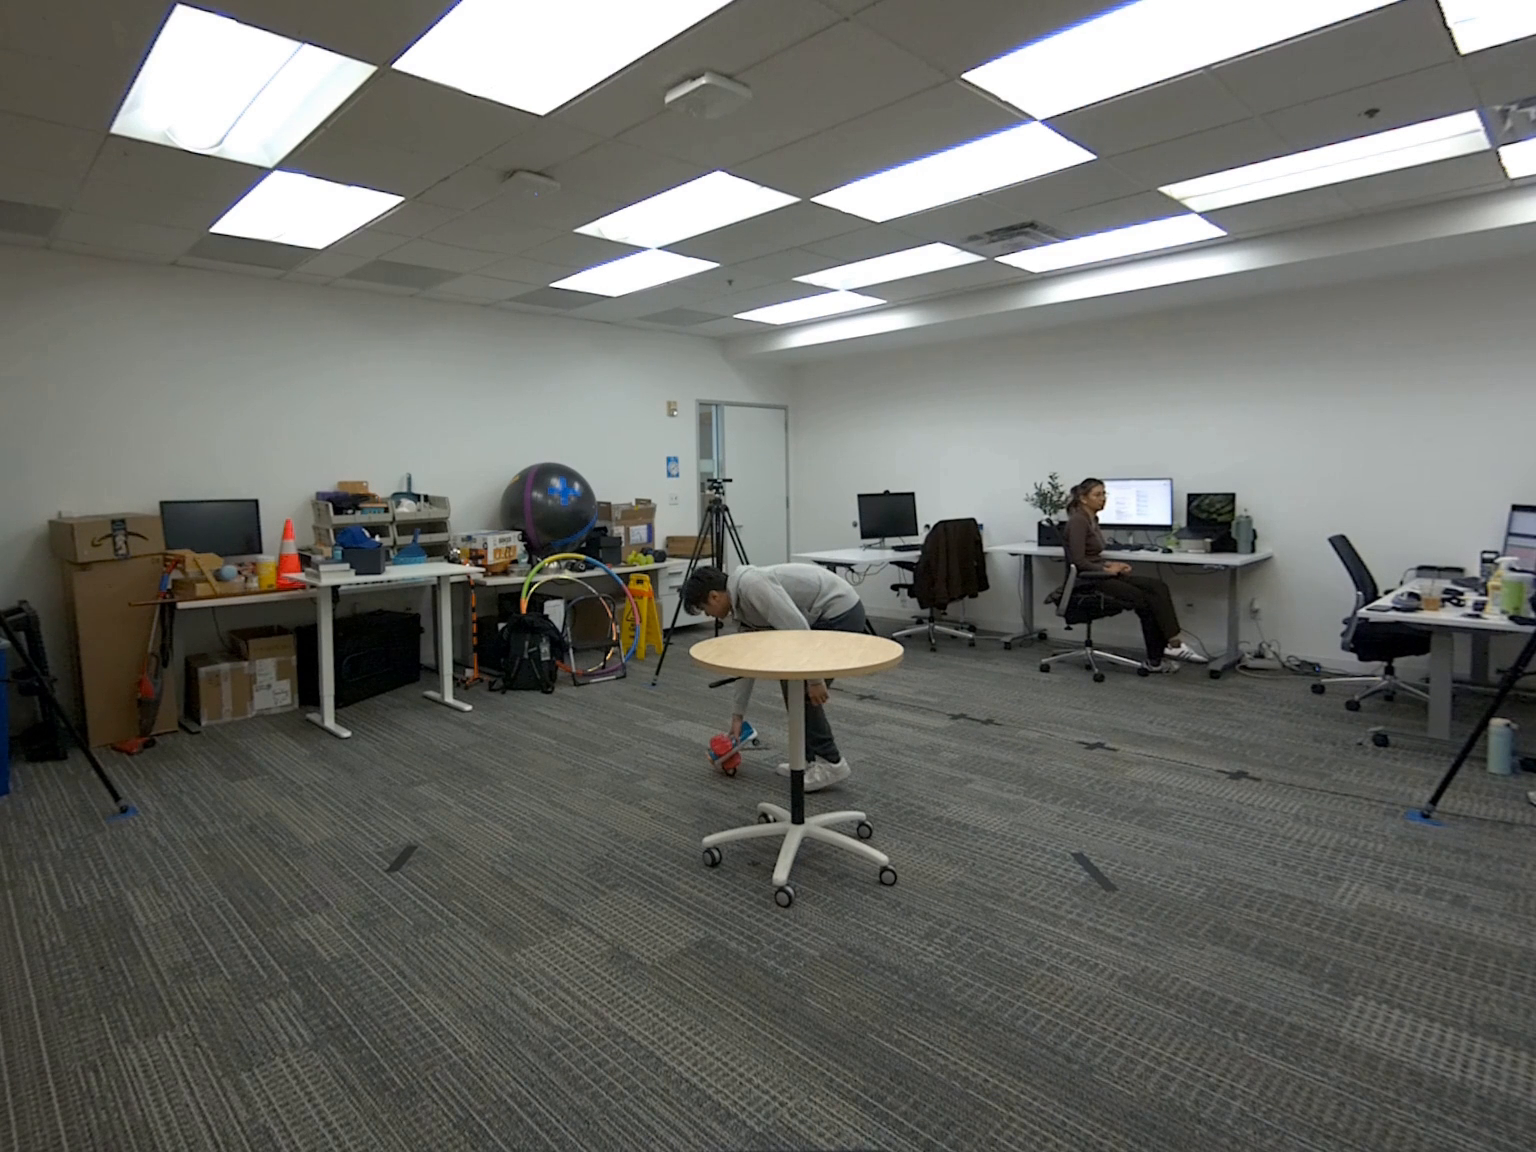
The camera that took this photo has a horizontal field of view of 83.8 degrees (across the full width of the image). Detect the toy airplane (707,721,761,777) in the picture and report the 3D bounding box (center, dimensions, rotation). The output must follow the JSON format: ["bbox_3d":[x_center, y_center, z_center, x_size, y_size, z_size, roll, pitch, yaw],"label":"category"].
[{"bbox_3d":[-0.175,0.825,4.098,0.254,0.154,0.260,-28,23,54],"label":"toy airplane"}]
